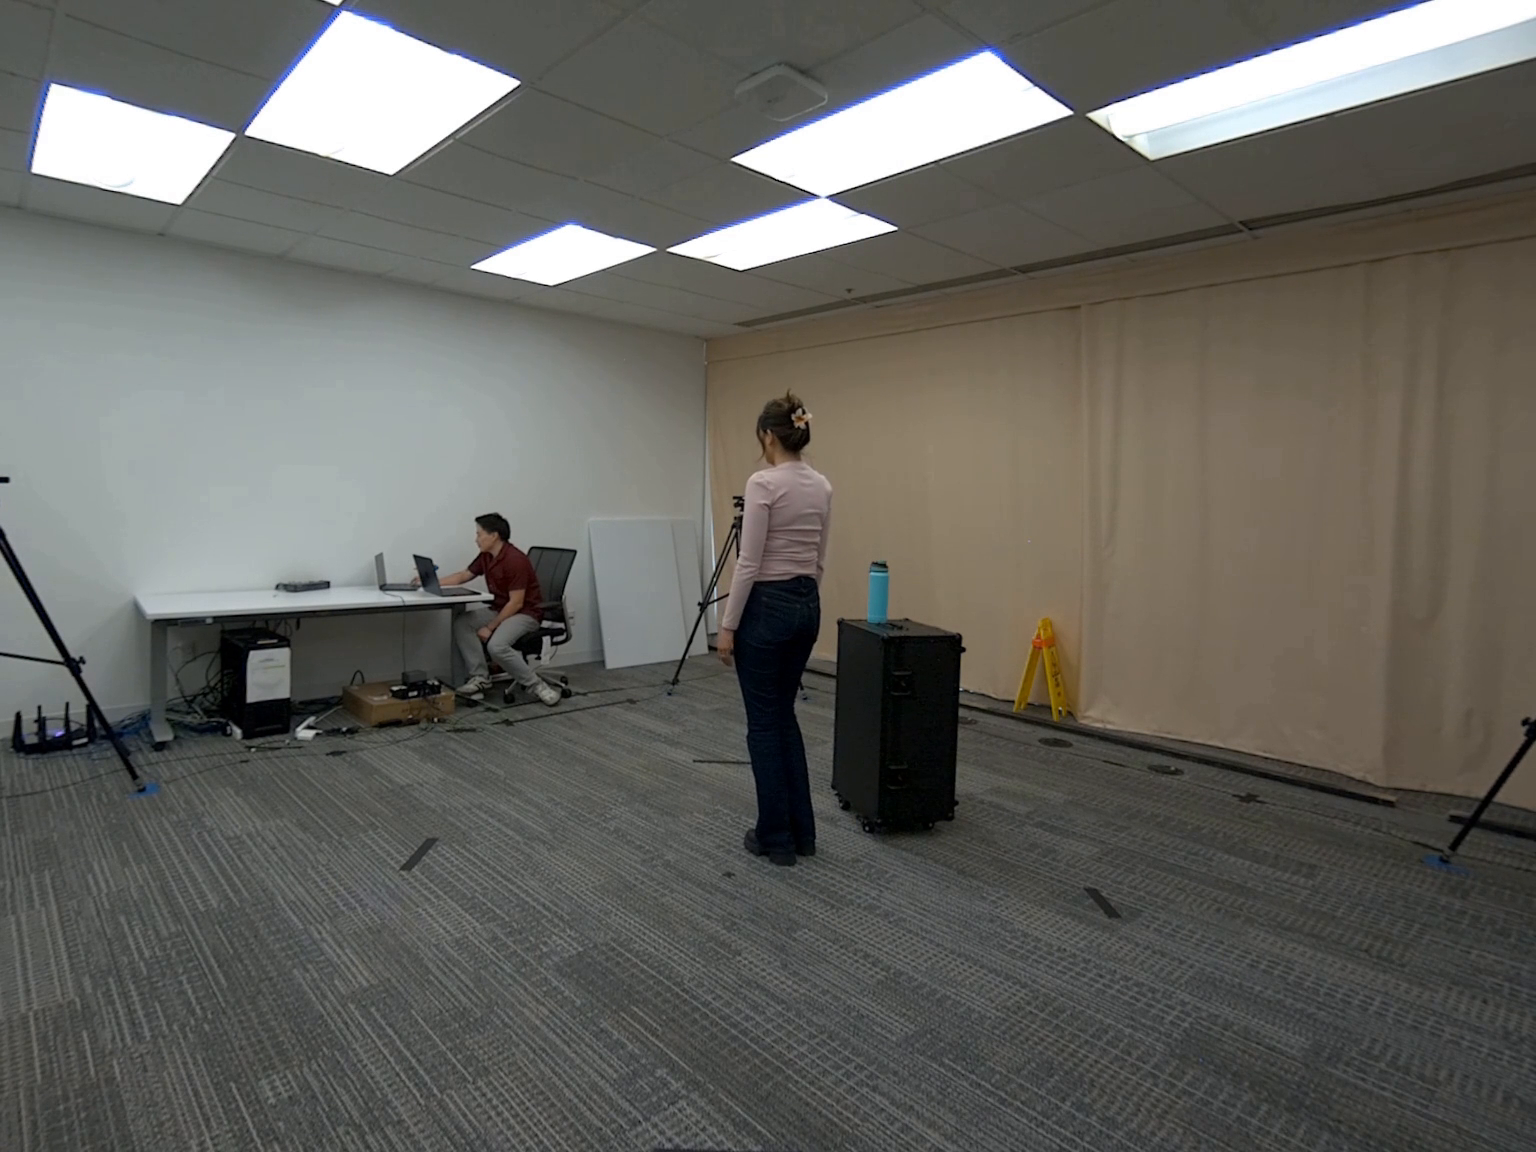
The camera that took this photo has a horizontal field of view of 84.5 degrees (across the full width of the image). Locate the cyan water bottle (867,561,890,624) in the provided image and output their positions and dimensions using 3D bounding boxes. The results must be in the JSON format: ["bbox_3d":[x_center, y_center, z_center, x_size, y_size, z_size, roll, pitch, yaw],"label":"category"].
[{"bbox_3d":[0.493,0.067,3.811,0.092,0.283,0.092,1,2,-1],"label":"cyan water bottle"}]
